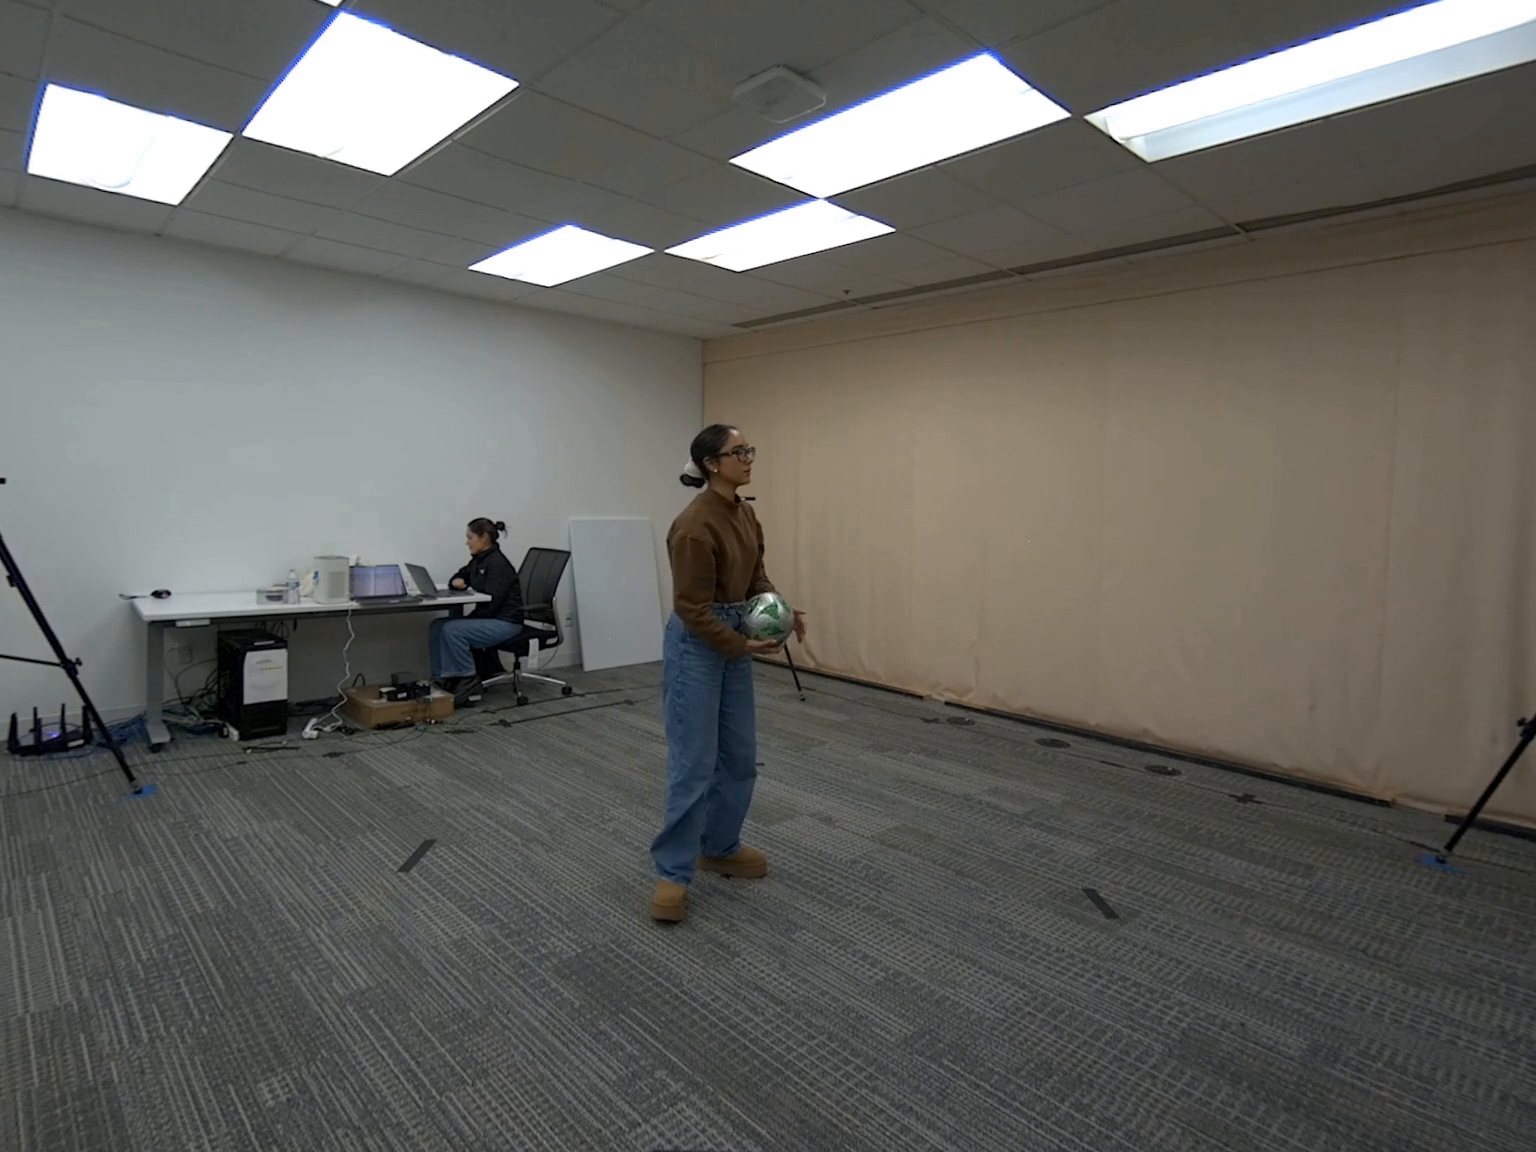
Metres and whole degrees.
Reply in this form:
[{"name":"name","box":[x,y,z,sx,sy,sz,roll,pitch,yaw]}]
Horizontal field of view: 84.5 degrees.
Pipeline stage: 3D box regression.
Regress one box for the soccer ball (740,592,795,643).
[{"name":"soccer ball","box":[-0.030,0.145,2.900,0.187,0.187,0.188,1,4,-1]}]
